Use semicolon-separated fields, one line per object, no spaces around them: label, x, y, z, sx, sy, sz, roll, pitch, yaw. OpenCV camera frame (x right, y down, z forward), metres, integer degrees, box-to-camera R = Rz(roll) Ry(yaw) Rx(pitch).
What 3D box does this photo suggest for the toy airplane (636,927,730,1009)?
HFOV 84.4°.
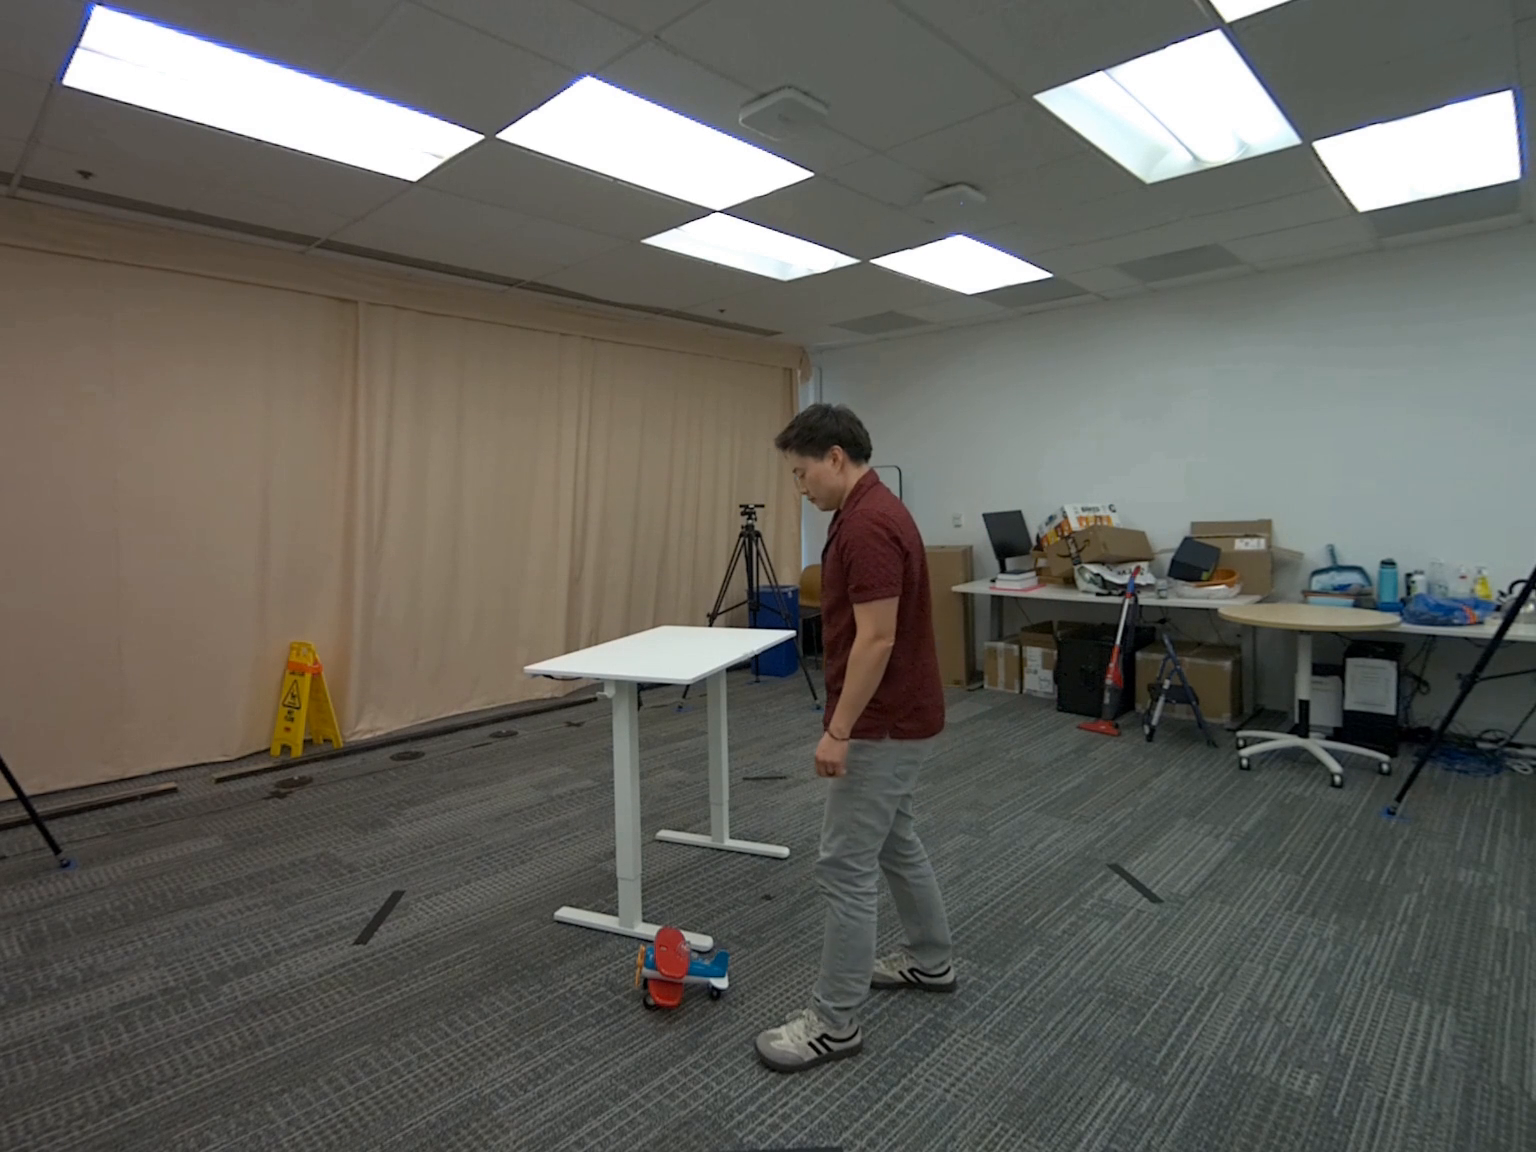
toy airplane;-0.245;1.125;2.390;0.252;0.156;0.258;-4;4;-31
